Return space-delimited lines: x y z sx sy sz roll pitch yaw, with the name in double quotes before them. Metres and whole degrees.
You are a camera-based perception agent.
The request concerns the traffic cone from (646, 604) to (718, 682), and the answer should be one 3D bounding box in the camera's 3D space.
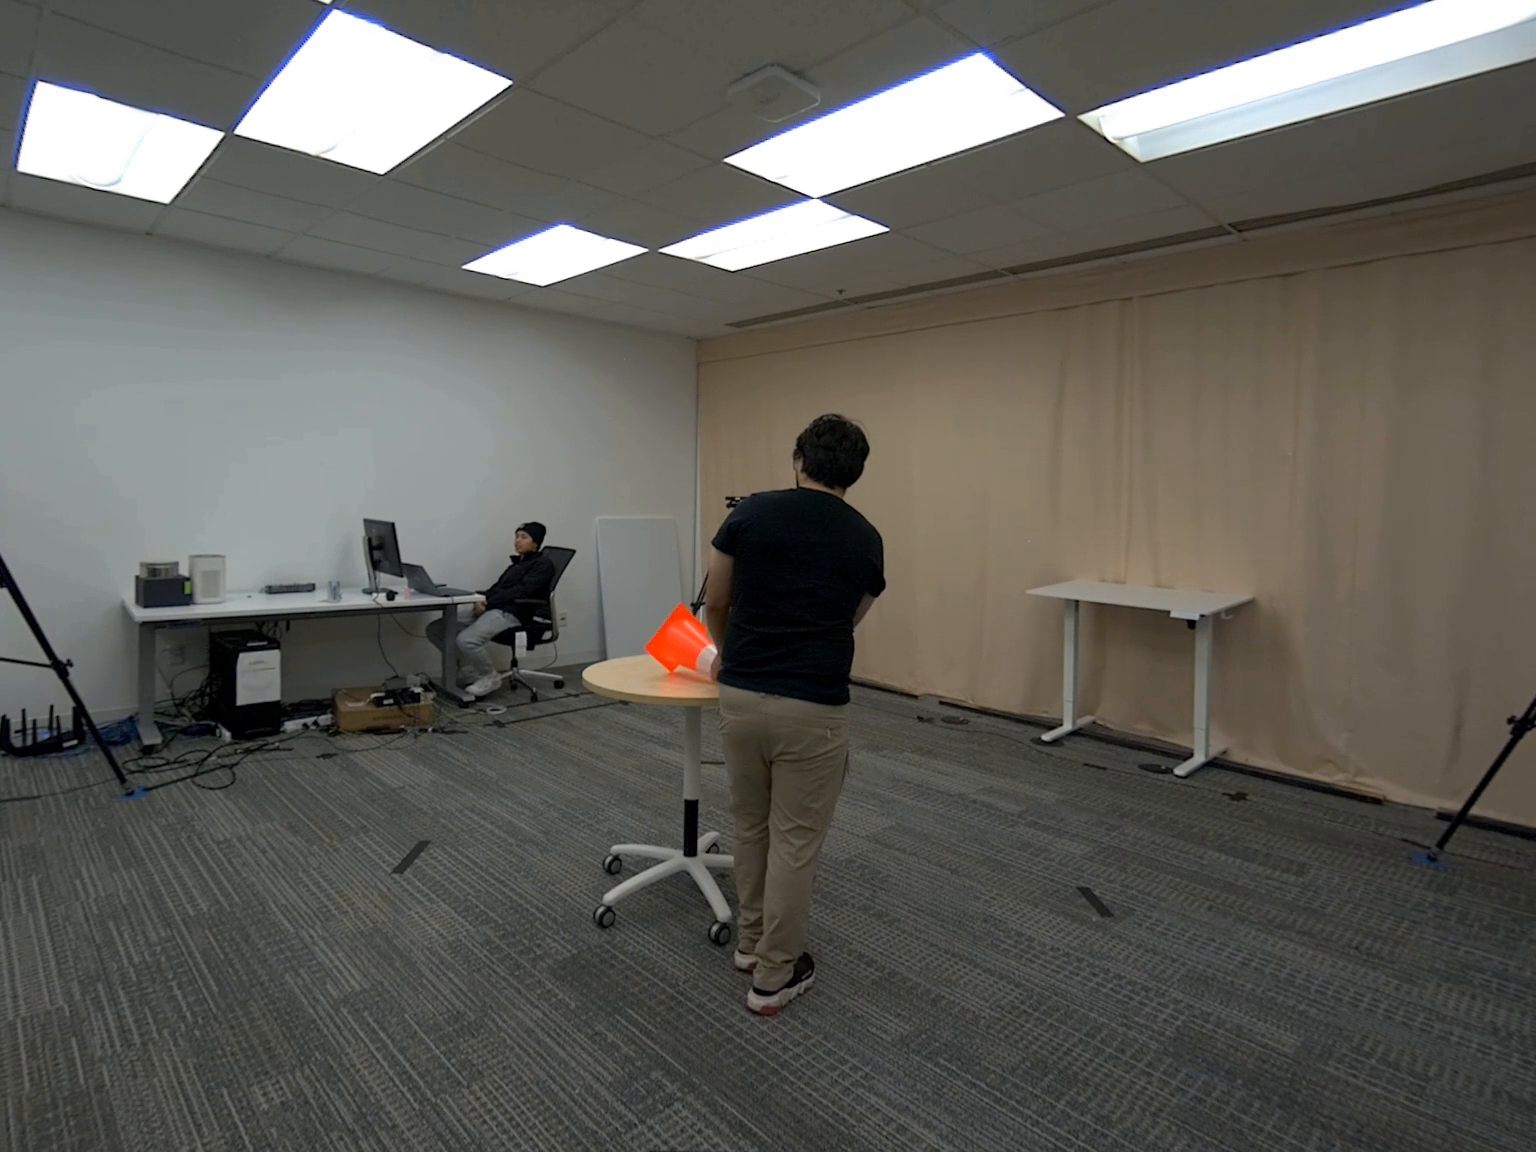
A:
"traffic cone" -0.189 0.291 2.759 0.396 0.203 0.198 30 -14 39
